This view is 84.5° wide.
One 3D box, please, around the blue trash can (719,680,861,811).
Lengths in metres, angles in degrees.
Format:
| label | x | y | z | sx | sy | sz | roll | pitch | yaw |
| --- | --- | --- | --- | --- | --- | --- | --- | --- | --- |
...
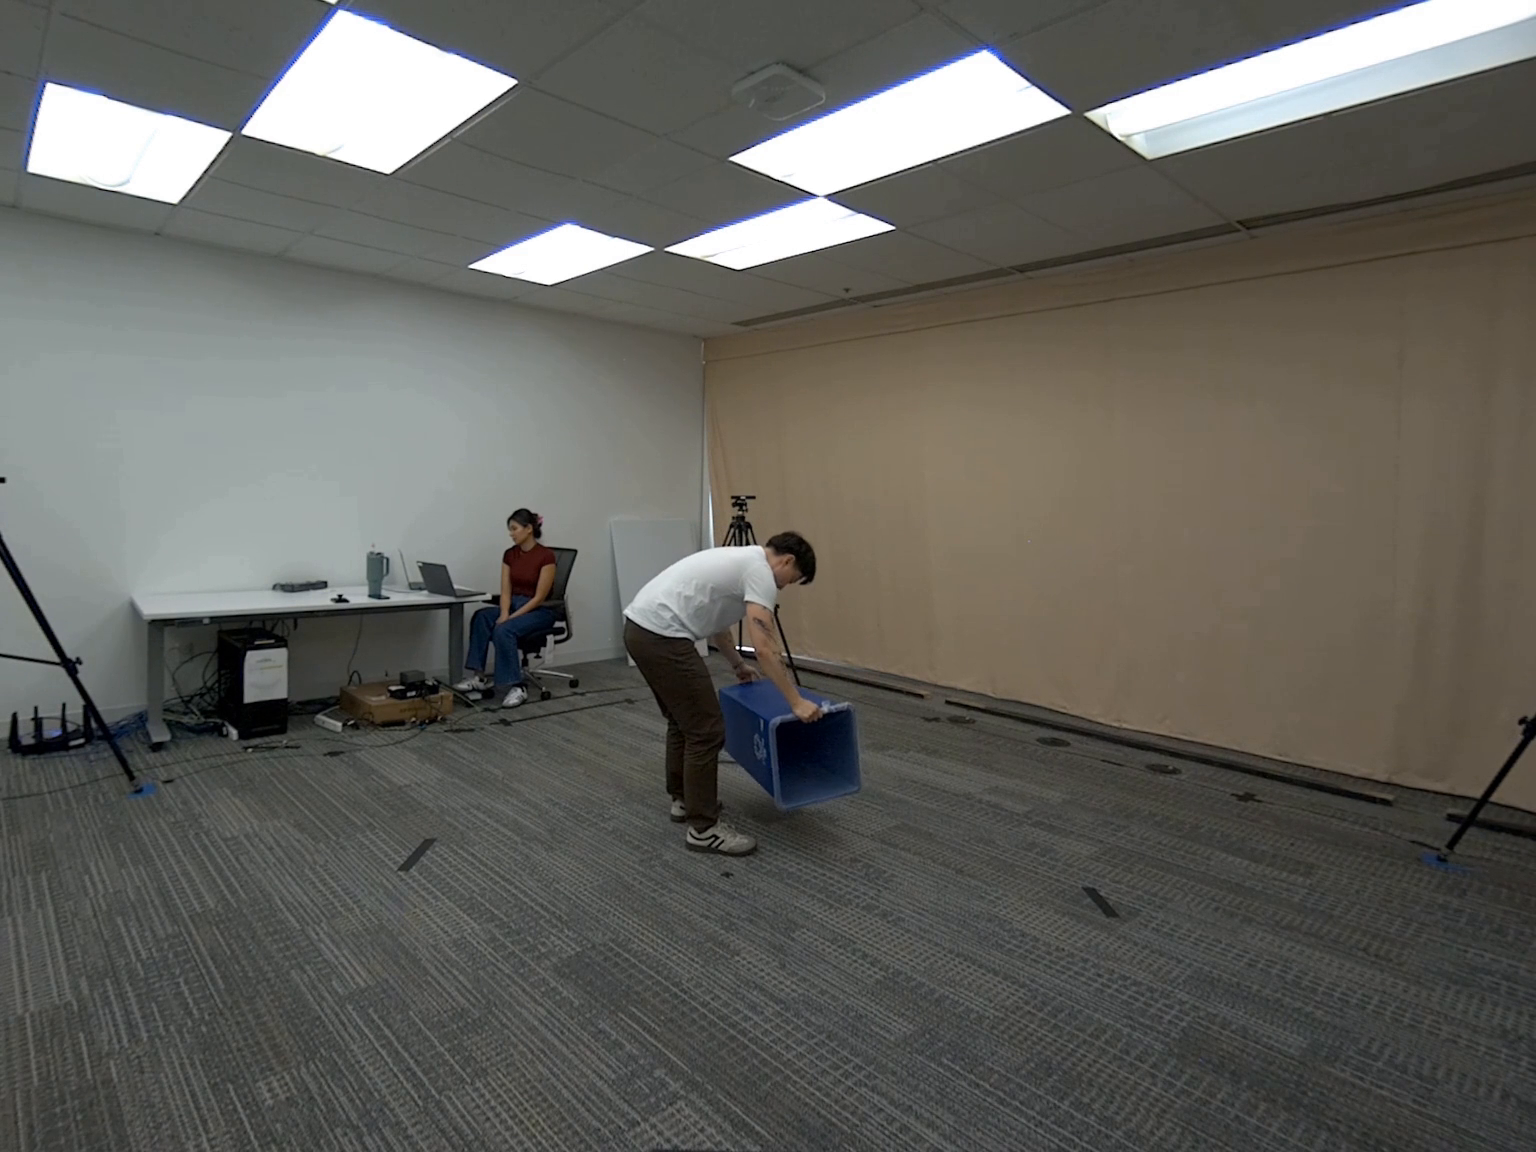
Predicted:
| label | x | y | z | sx | sy | sz | roll | pitch | yaw |
| --- | --- | --- | --- | --- | --- | --- | --- | --- | --- |
| blue trash can | 0.048 | 0.677 | 3.609 | 0.369 | 0.376 | 0.727 | -7 | 6 | -22 |
